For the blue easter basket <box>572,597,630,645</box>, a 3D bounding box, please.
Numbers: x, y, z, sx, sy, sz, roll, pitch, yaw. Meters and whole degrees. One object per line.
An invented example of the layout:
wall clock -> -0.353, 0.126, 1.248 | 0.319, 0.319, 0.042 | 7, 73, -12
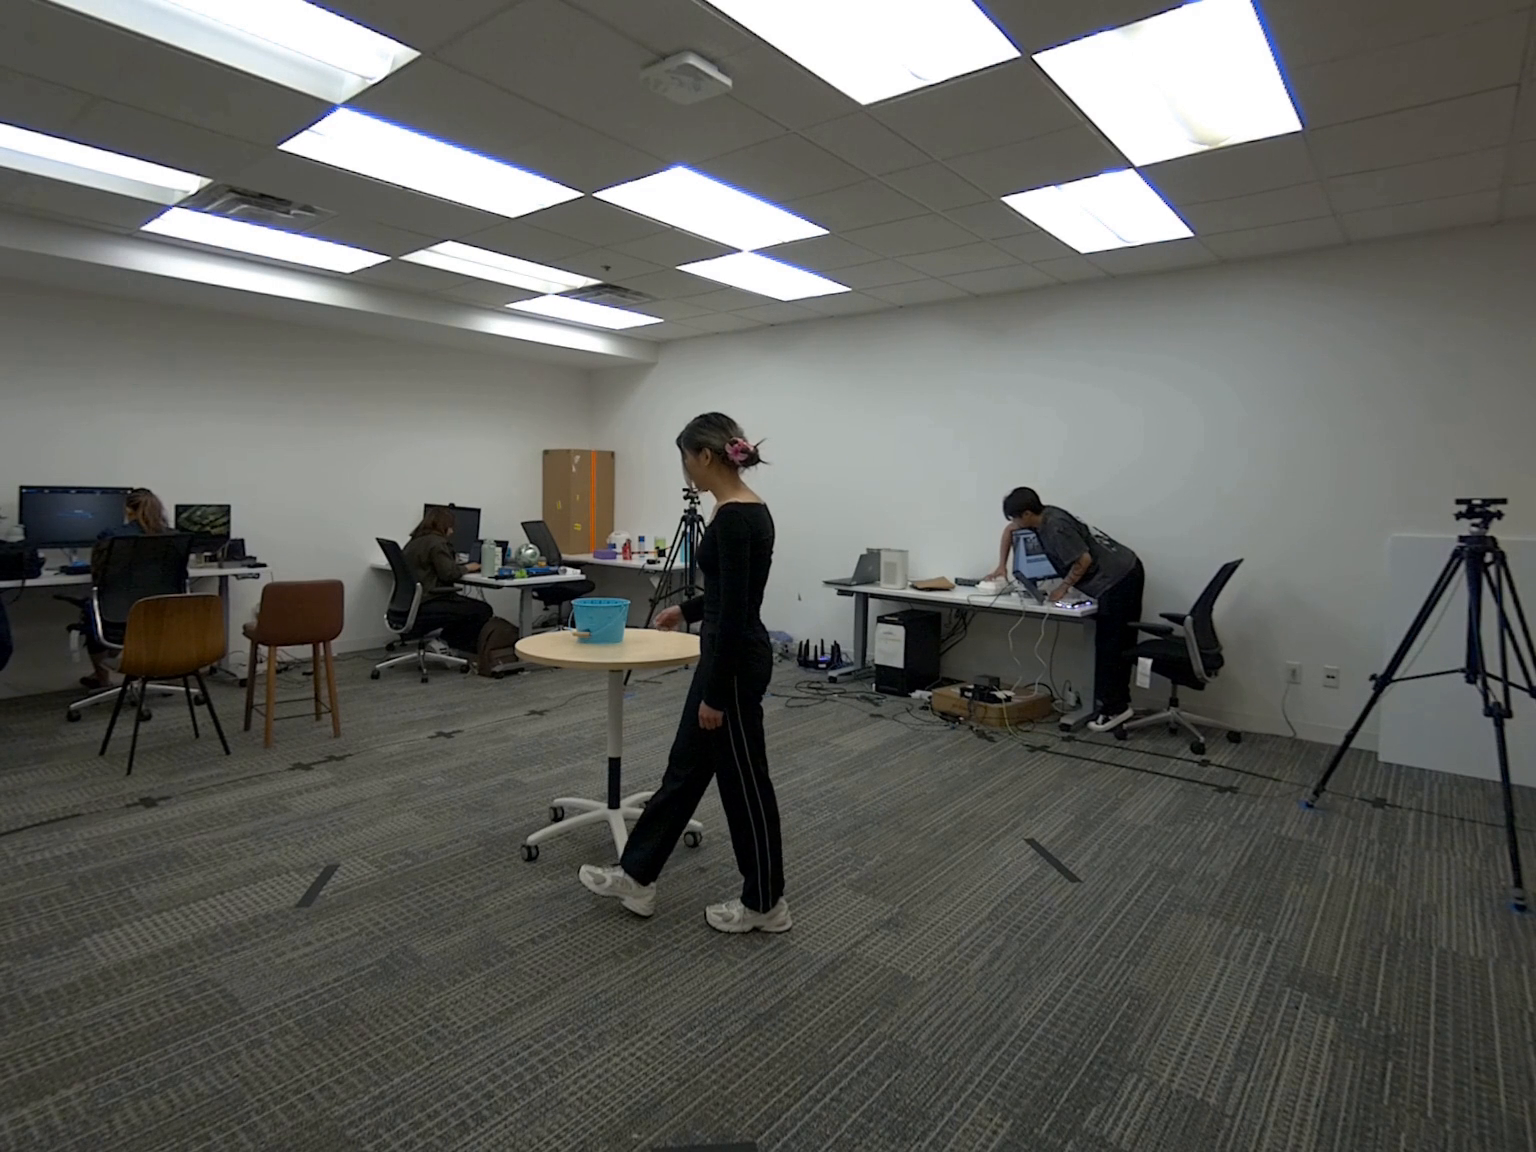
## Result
blue easter basket -> -0.695, 0.181, 3.380 | 0.243, 0.155, 0.244 | 2, 4, -2
